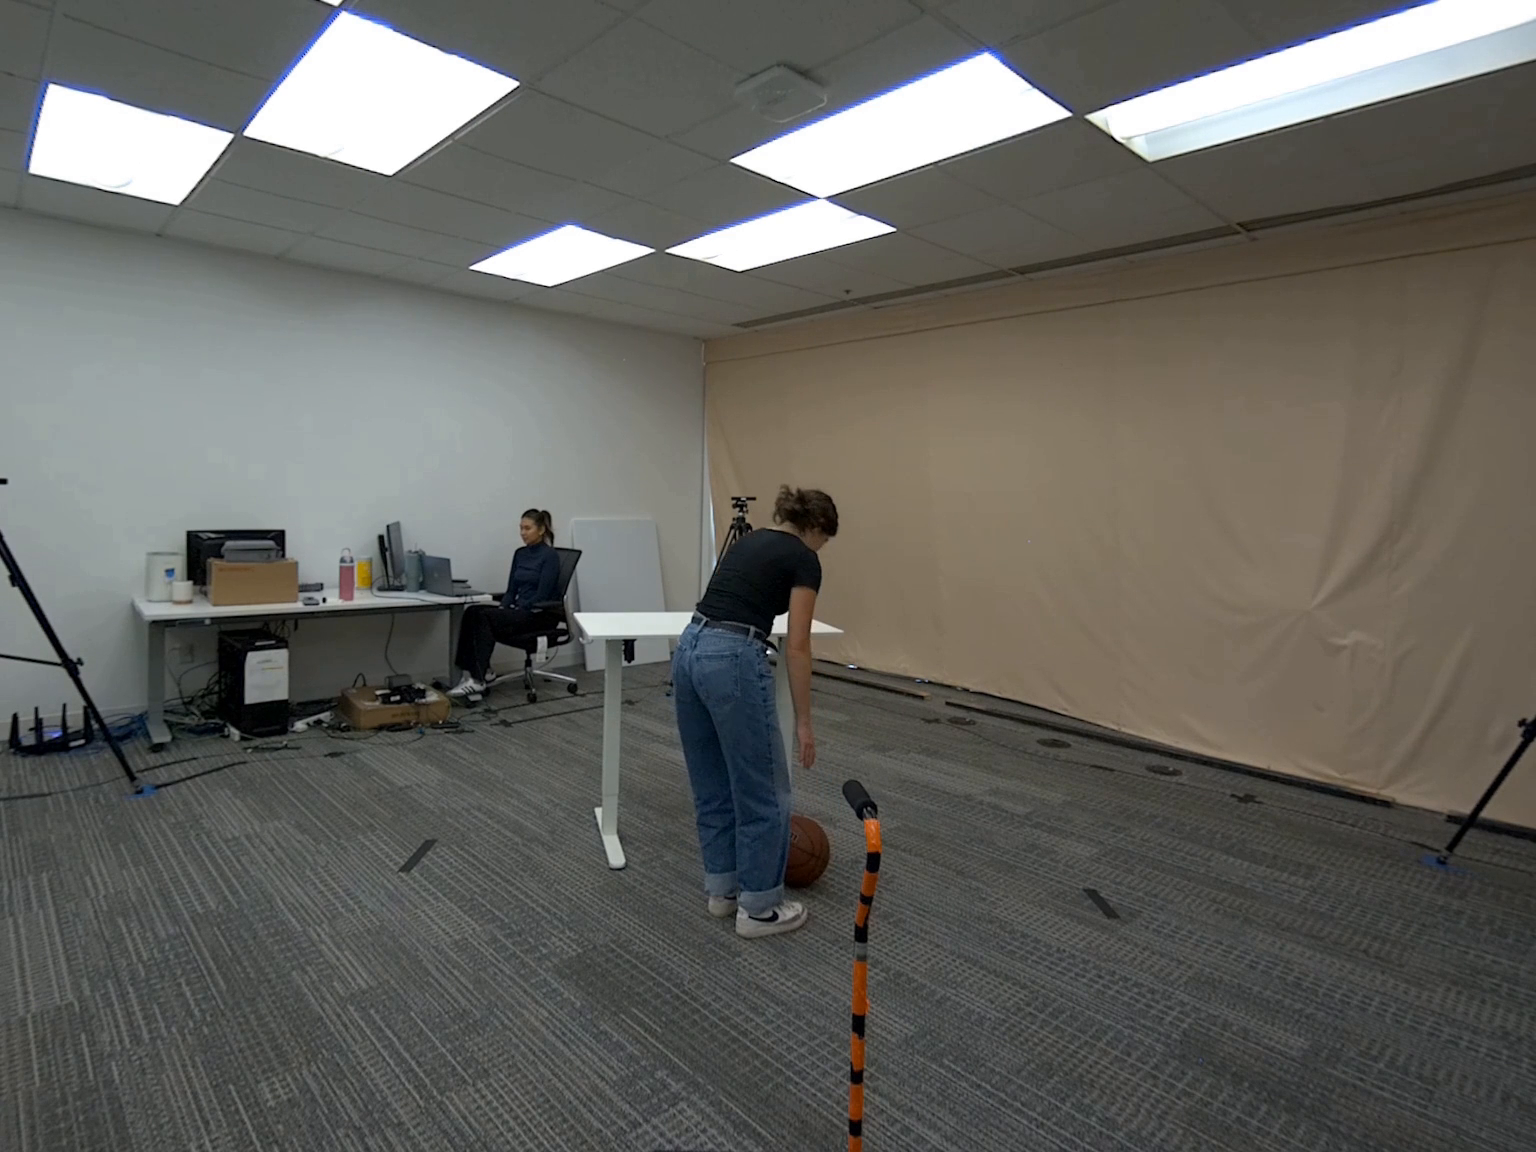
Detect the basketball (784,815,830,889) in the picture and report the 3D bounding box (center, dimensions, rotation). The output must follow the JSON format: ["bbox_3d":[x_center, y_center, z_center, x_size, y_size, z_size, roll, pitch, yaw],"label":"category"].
[{"bbox_3d":[0.096,0.993,3.049,0.236,0.235,0.237,1,4,-1],"label":"basketball"}]
